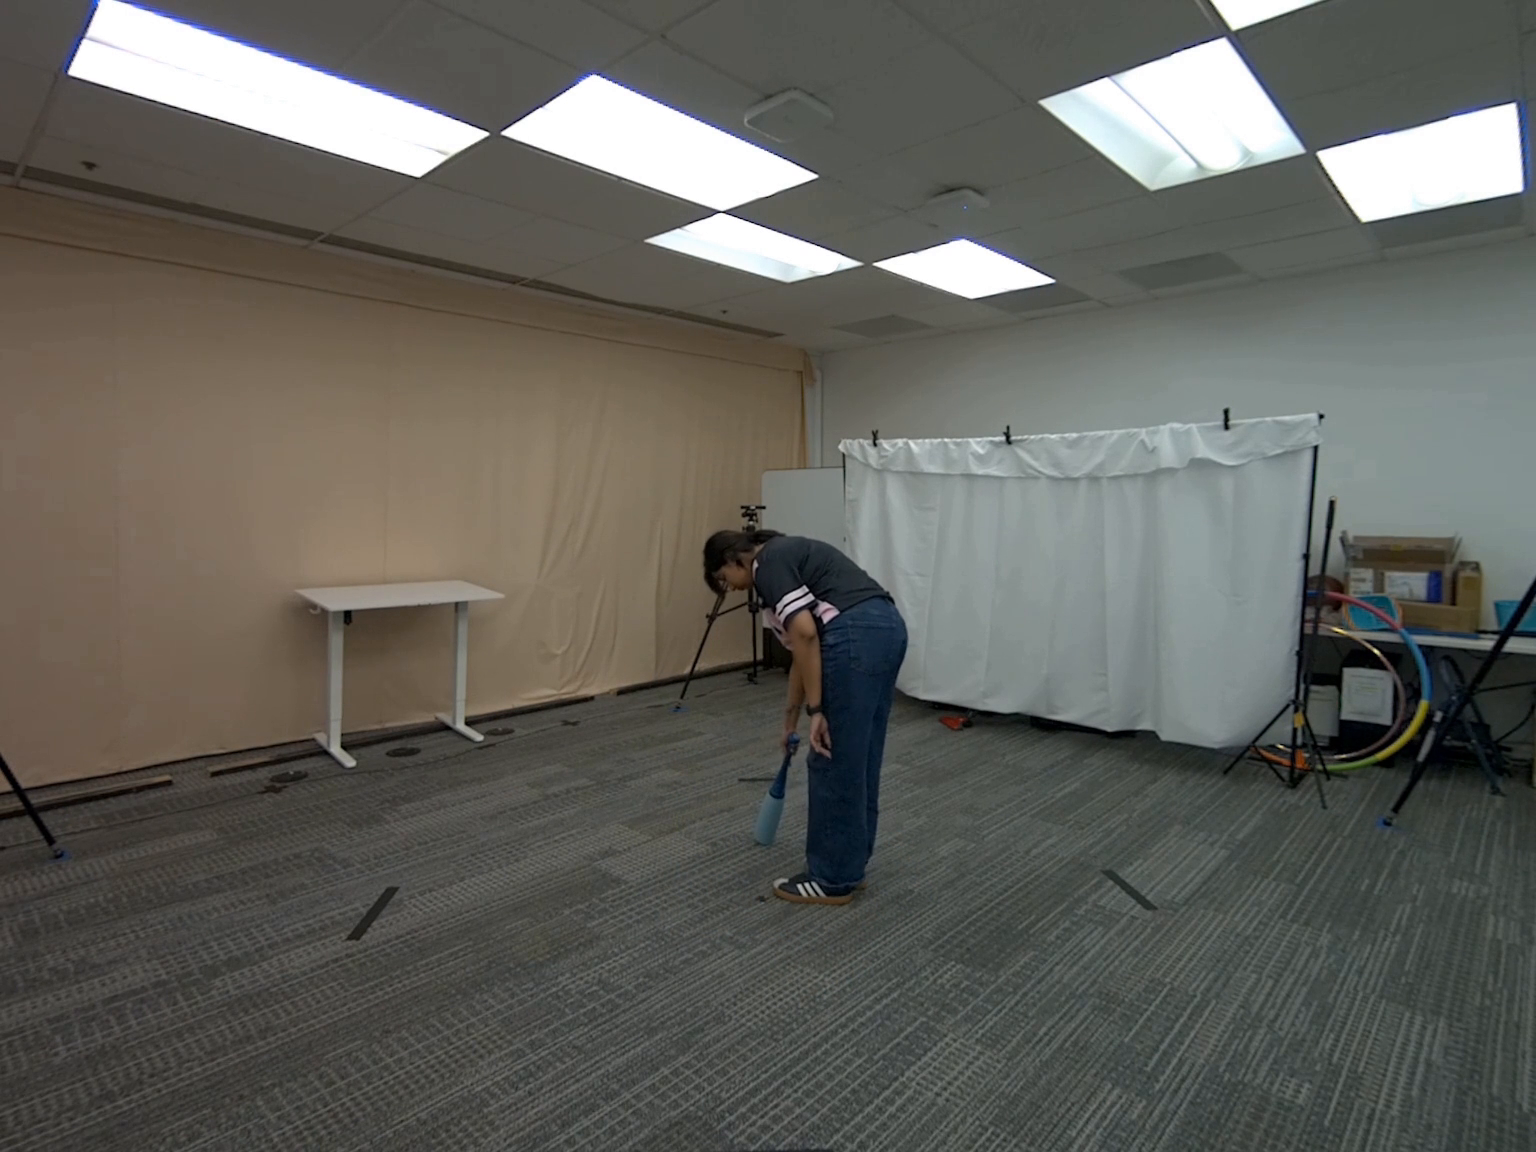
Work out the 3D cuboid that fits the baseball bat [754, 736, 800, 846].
[{"bbox_3d":[0.037,0.862,3.367,0.088,0.538,0.090,10,28,-7],"label":"baseball bat"}]
